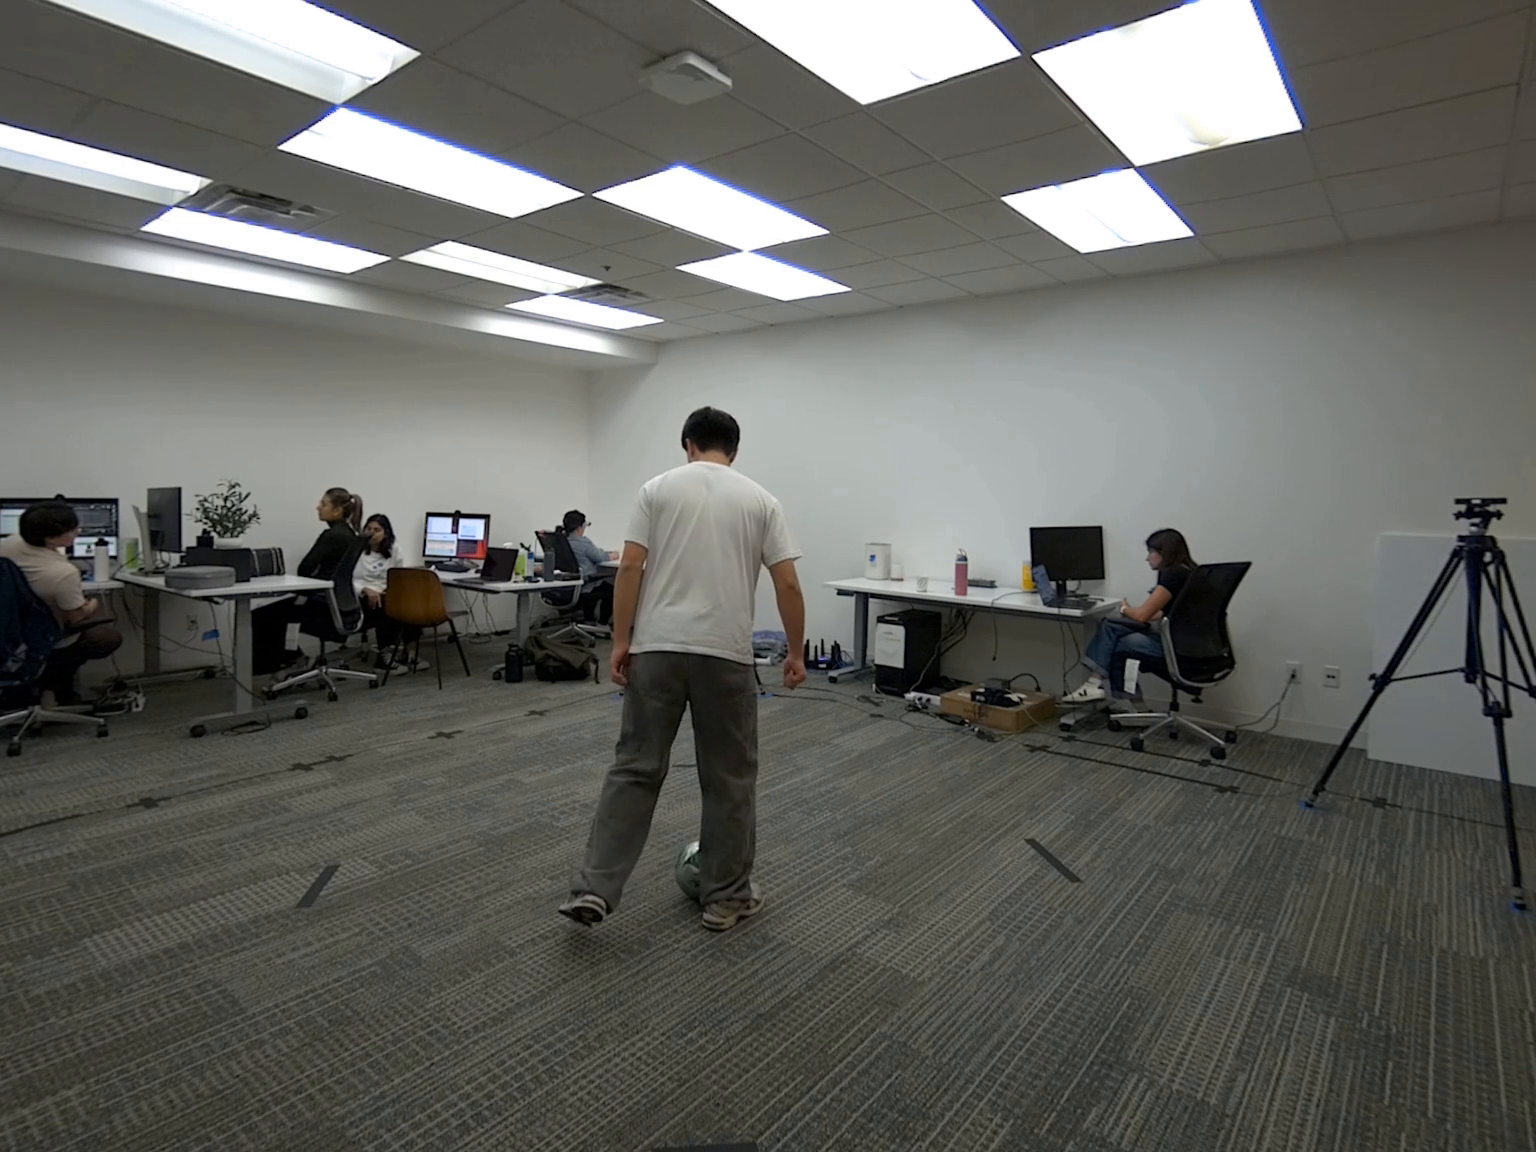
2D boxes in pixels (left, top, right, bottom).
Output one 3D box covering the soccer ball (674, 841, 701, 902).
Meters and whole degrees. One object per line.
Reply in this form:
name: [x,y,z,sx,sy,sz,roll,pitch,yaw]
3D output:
soccer ball: [-0.218,0.990,2.900,0.187,0.187,0.188,1,4,-2]
